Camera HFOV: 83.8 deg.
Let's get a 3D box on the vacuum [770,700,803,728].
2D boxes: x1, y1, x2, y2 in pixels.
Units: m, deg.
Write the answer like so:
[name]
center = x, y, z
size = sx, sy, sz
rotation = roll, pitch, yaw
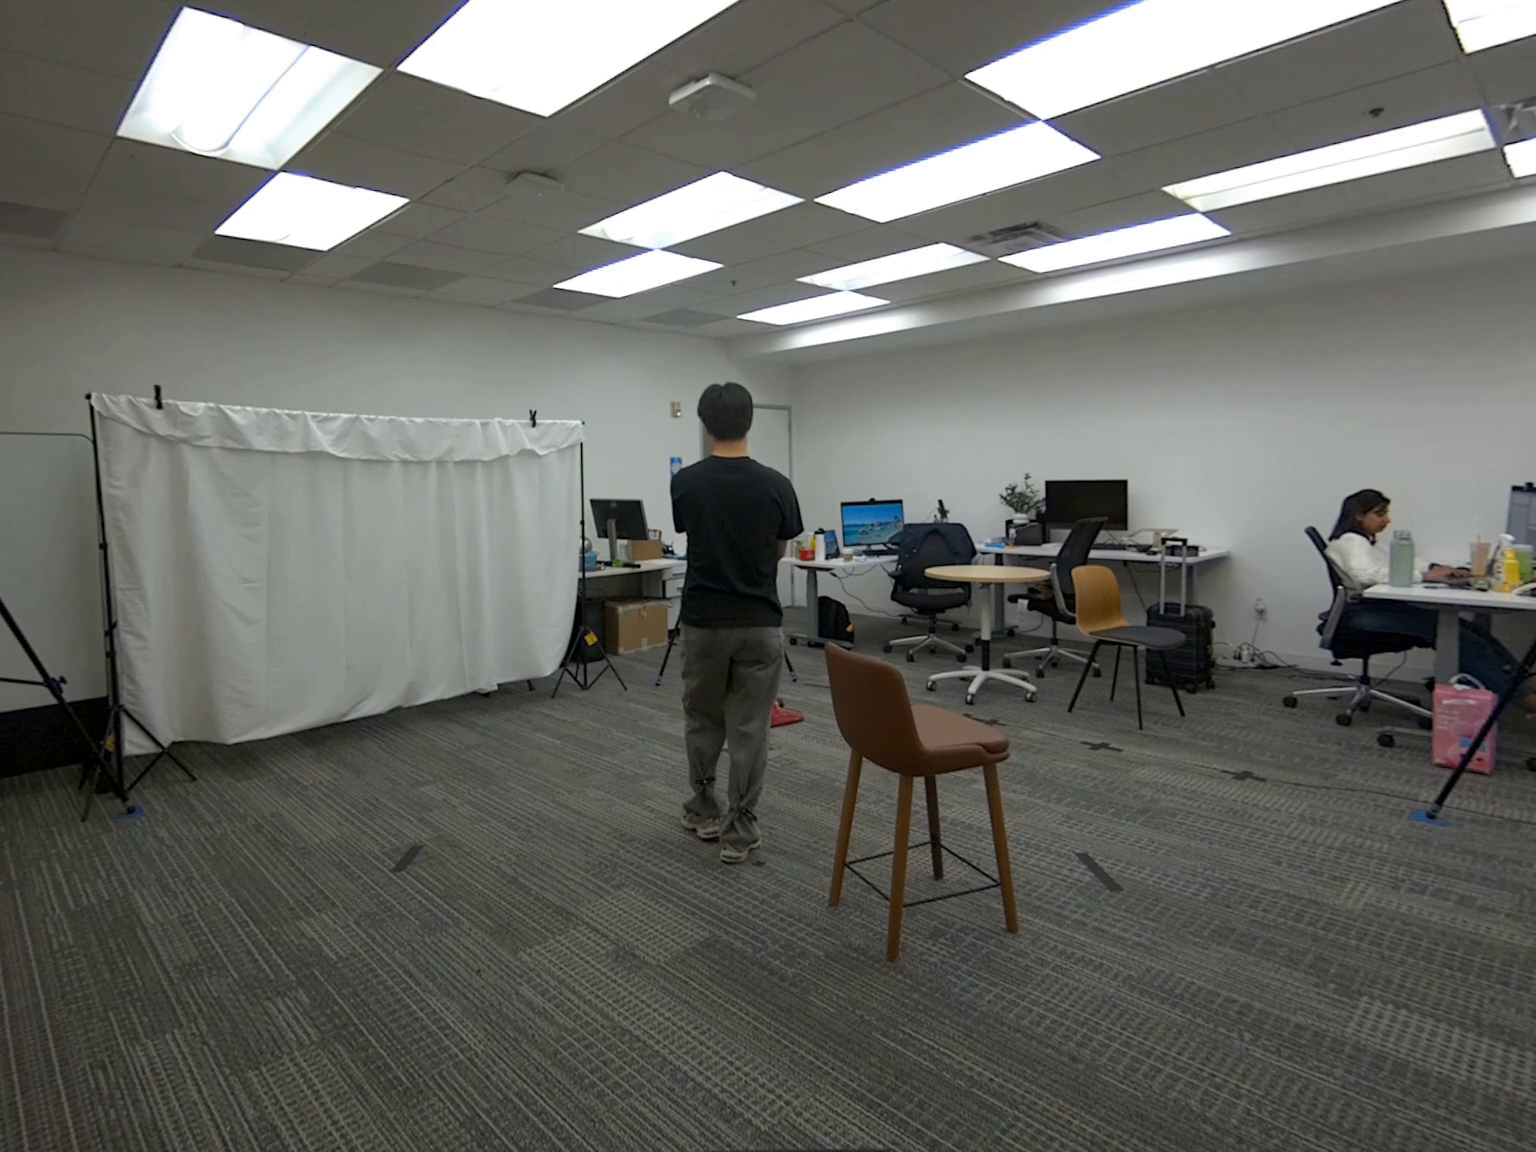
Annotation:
[vacuum]
center = -0.079, 0.086, 3.716
size = 0.250, 1.055, 0.145
rotation = -9, -5, -13
